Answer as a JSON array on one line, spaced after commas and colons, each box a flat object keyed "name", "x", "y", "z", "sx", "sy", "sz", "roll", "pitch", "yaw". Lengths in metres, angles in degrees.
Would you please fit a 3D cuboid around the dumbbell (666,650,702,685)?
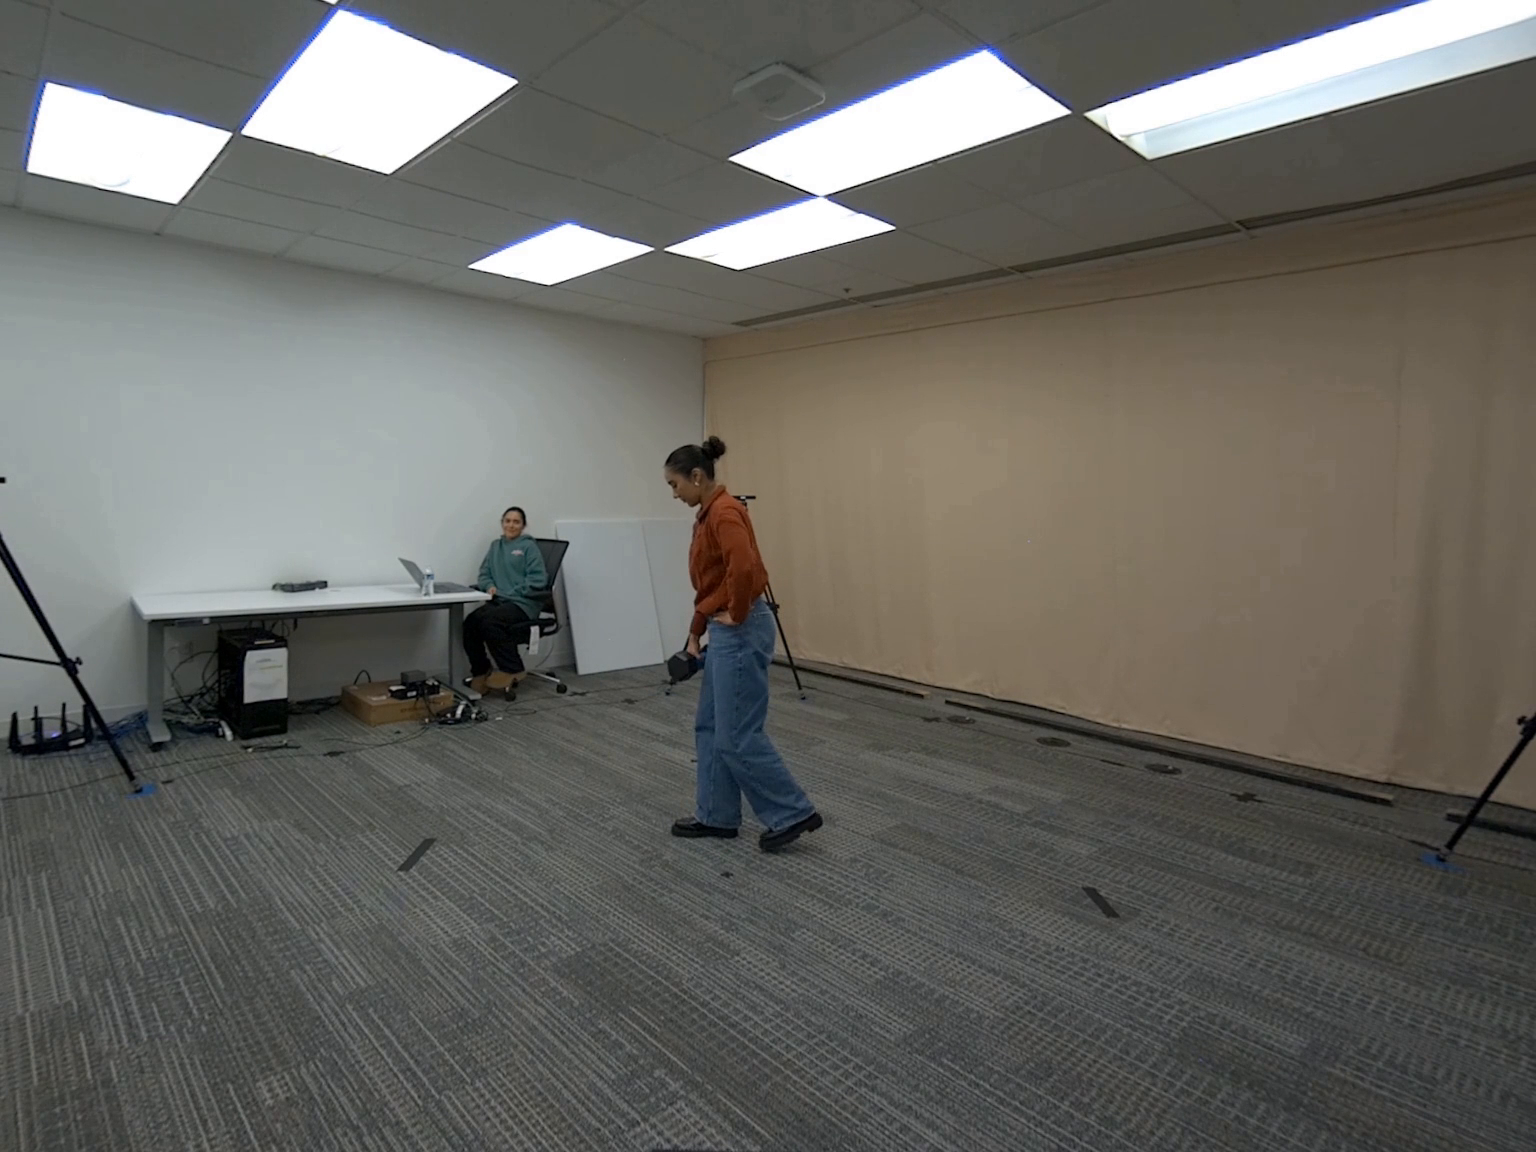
[{"name": "dumbbell", "x": -0.296, "y": 0.362, "z": 3.542, "sx": 0.111, "sy": 0.123, "sz": 0.288, "roll": -5, "pitch": 2, "yaw": 33}]
